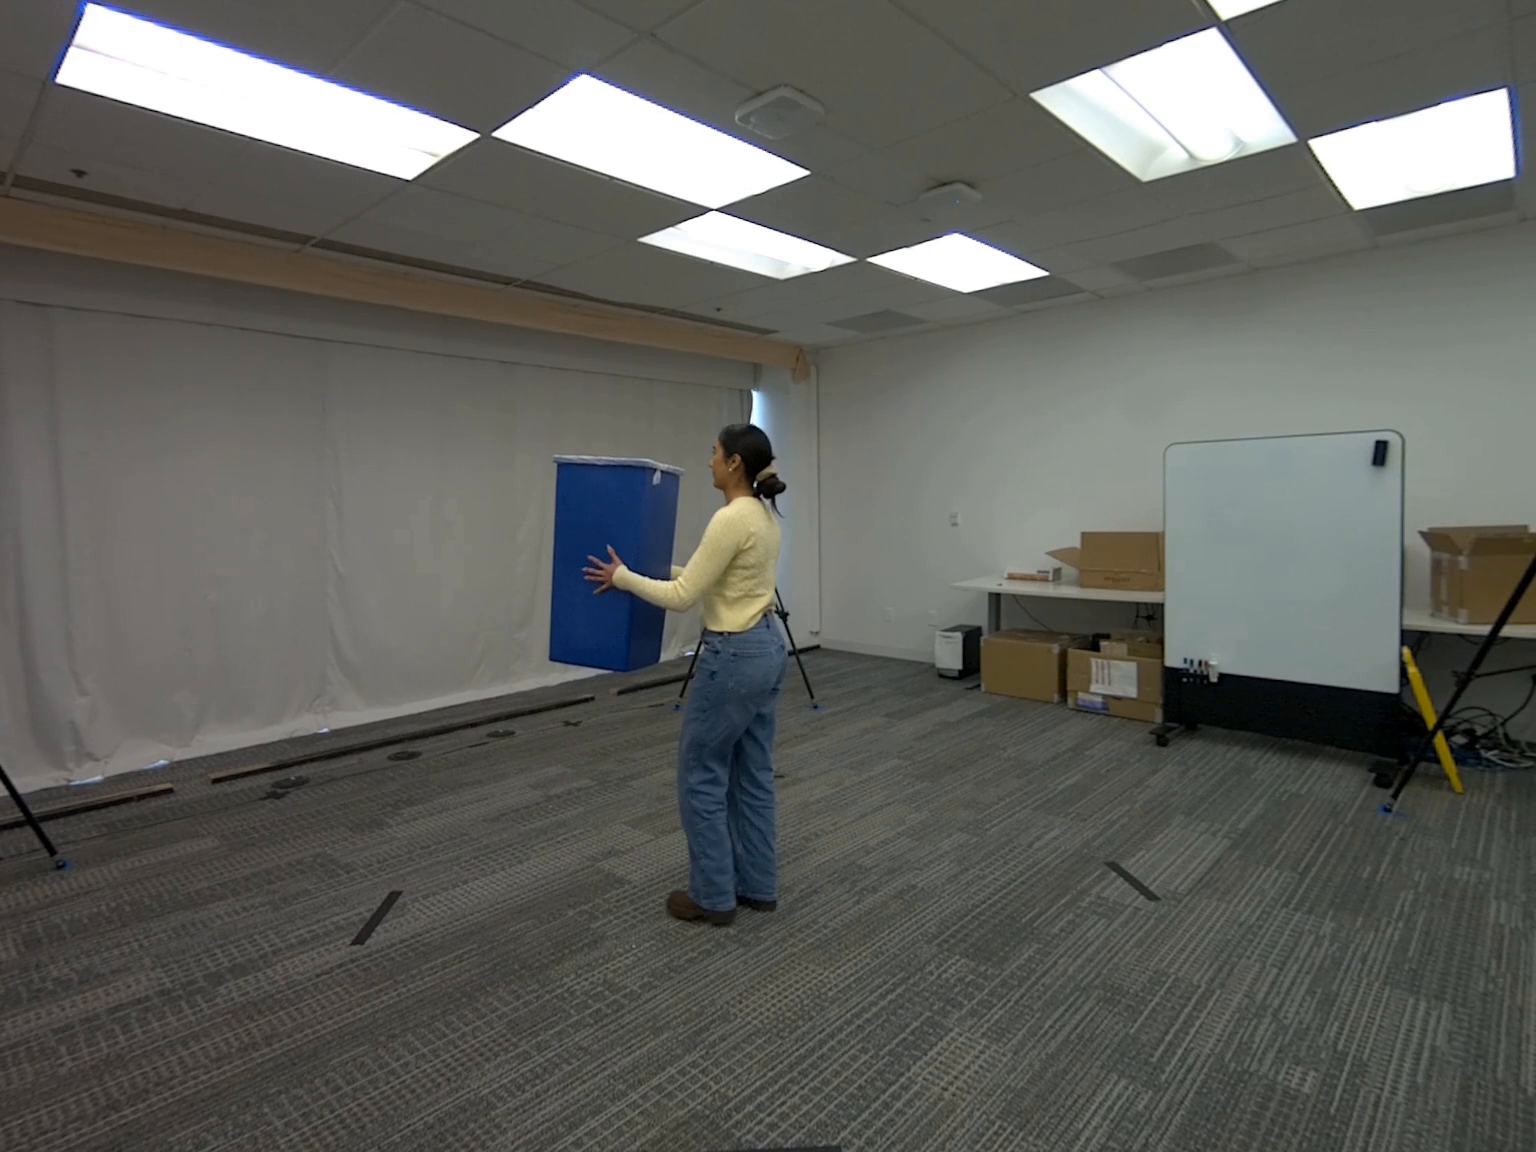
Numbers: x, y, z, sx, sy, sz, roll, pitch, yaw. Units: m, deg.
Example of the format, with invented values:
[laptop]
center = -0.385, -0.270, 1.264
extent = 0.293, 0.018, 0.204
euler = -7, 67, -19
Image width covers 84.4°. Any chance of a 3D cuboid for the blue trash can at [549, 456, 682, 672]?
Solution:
[blue trash can]
center = -0.551, -0.051, 2.998
extent = 0.381, 0.713, 0.371
euler = 5, 1, 17
